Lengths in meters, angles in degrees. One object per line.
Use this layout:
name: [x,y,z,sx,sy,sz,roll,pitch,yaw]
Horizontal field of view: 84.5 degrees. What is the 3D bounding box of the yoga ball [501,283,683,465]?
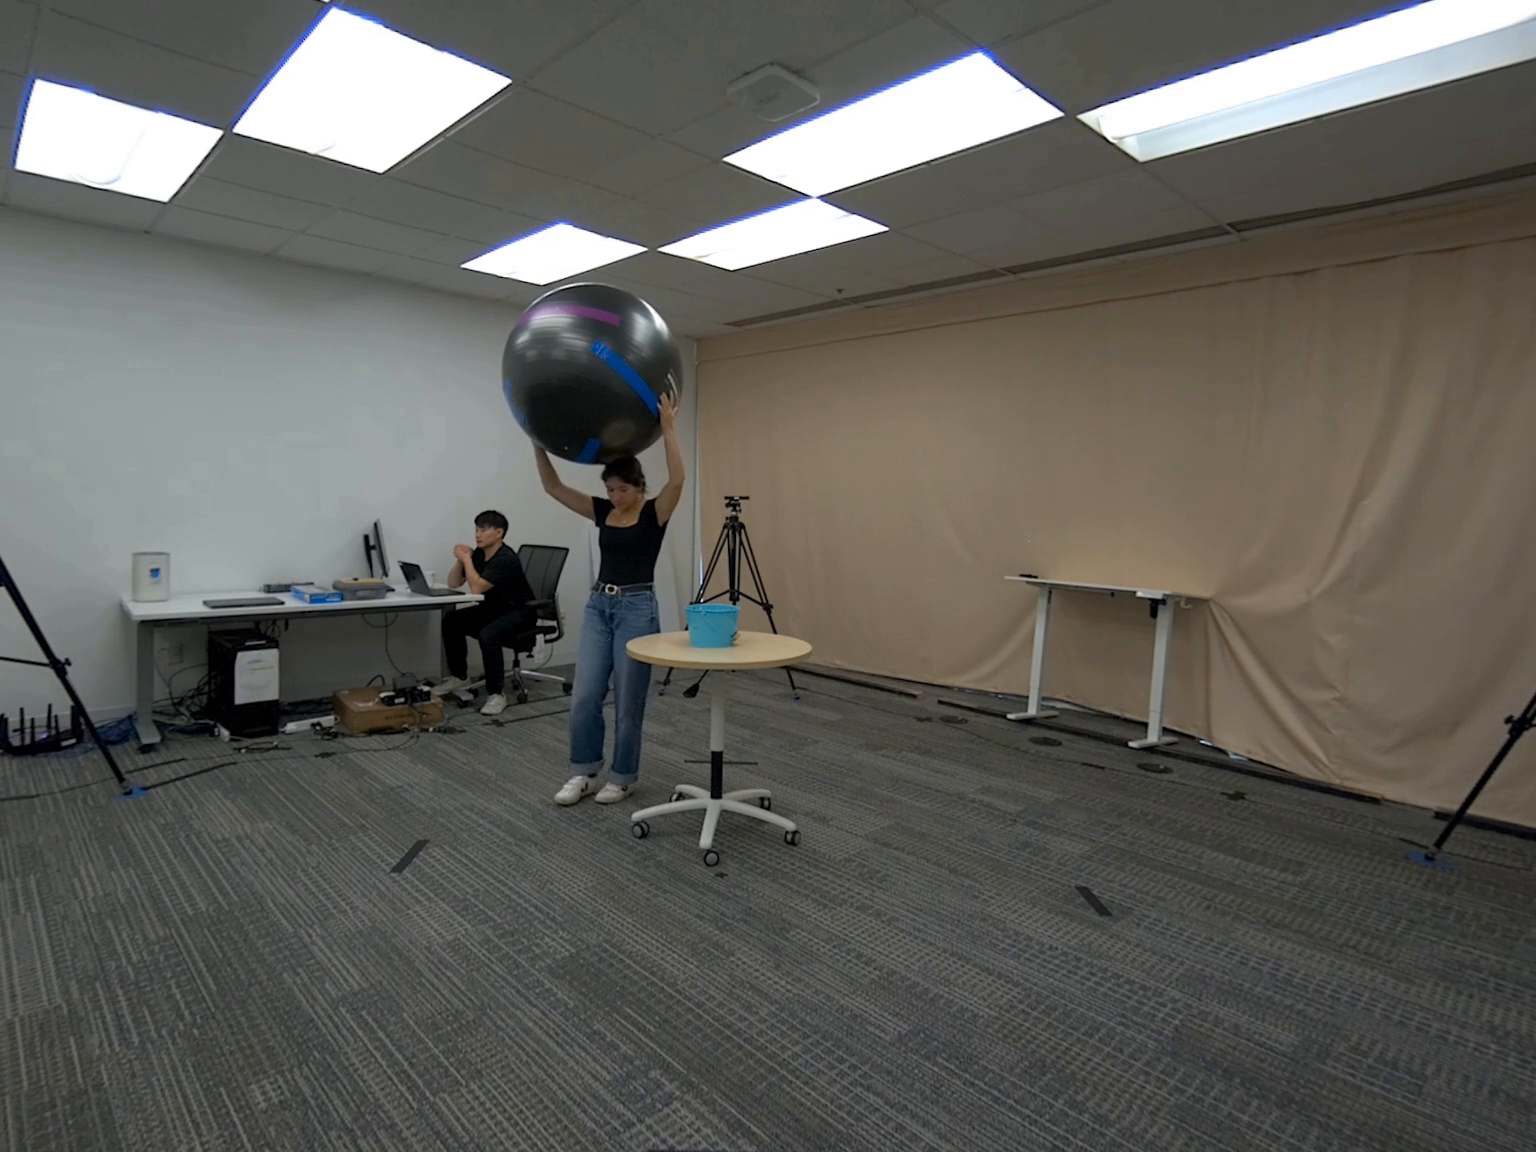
yoga ball: [-0.749,-0.850,3.590,0.757,0.756,0.761,1,4,-1]
